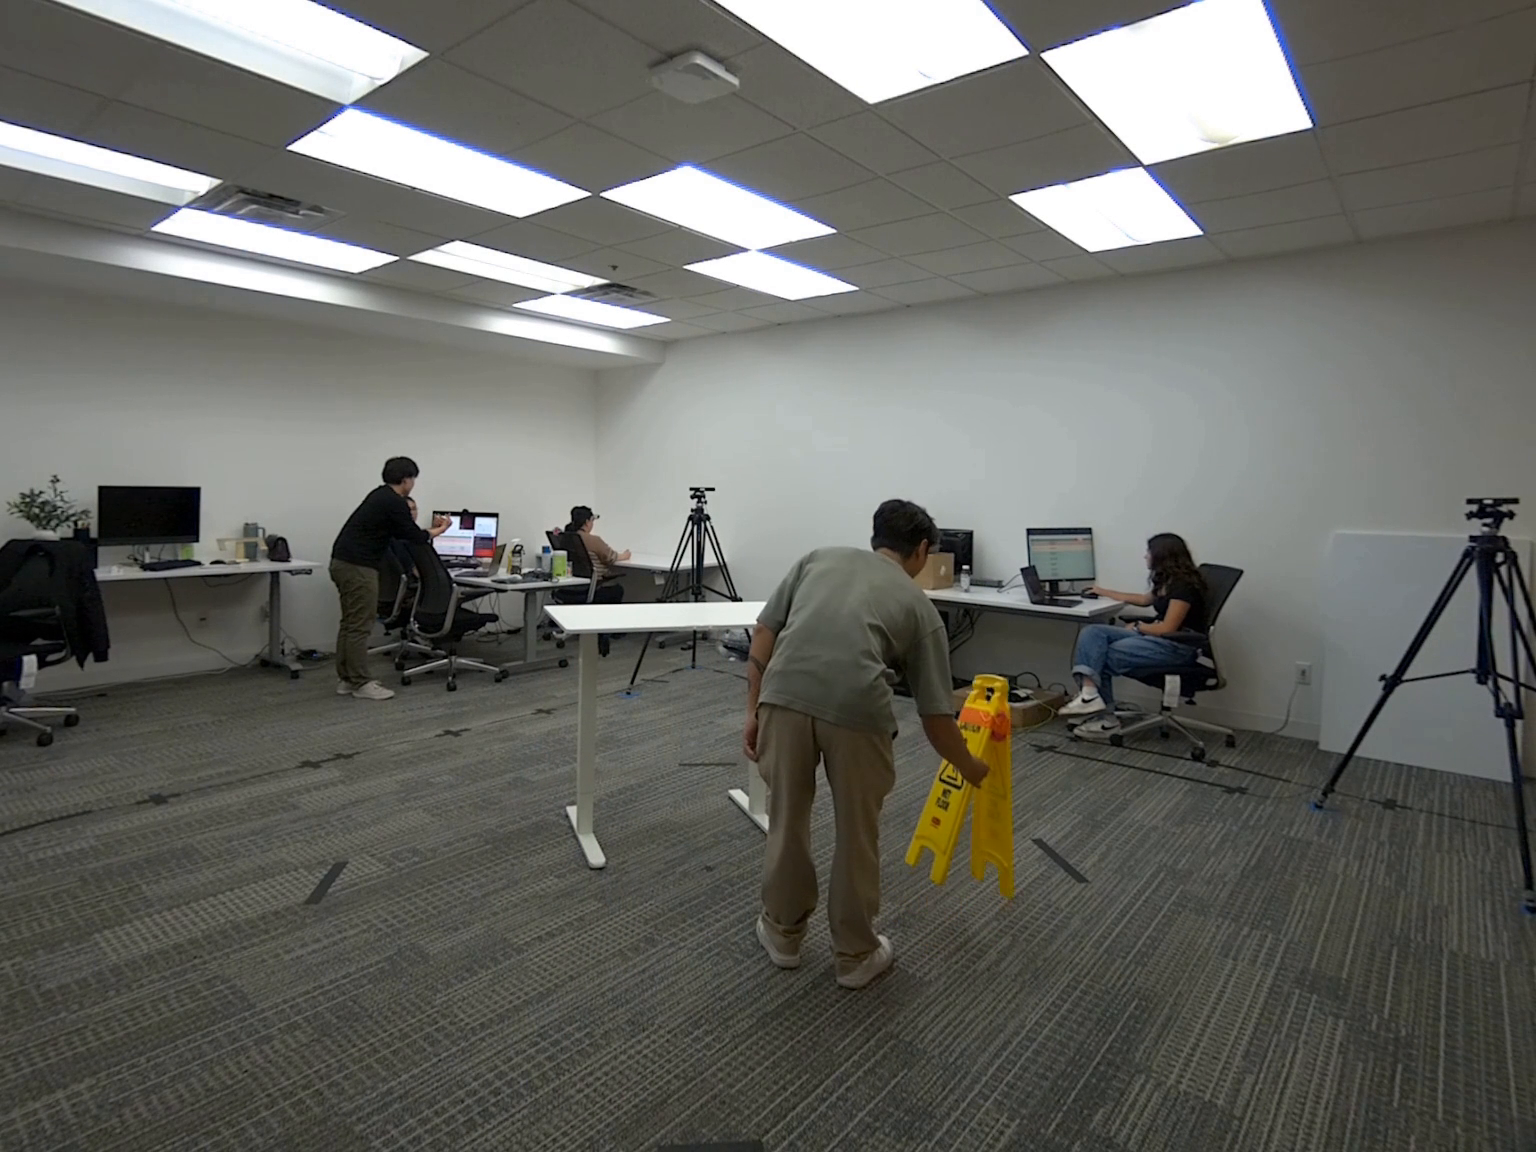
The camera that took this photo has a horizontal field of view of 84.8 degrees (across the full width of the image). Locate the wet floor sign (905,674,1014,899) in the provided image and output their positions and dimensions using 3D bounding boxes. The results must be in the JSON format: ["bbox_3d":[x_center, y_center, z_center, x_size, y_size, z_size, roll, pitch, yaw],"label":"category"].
[{"bbox_3d":[0.668,0.639,2.738,0.286,0.649,0.284,13,-7,-10],"label":"wet floor sign"}]
